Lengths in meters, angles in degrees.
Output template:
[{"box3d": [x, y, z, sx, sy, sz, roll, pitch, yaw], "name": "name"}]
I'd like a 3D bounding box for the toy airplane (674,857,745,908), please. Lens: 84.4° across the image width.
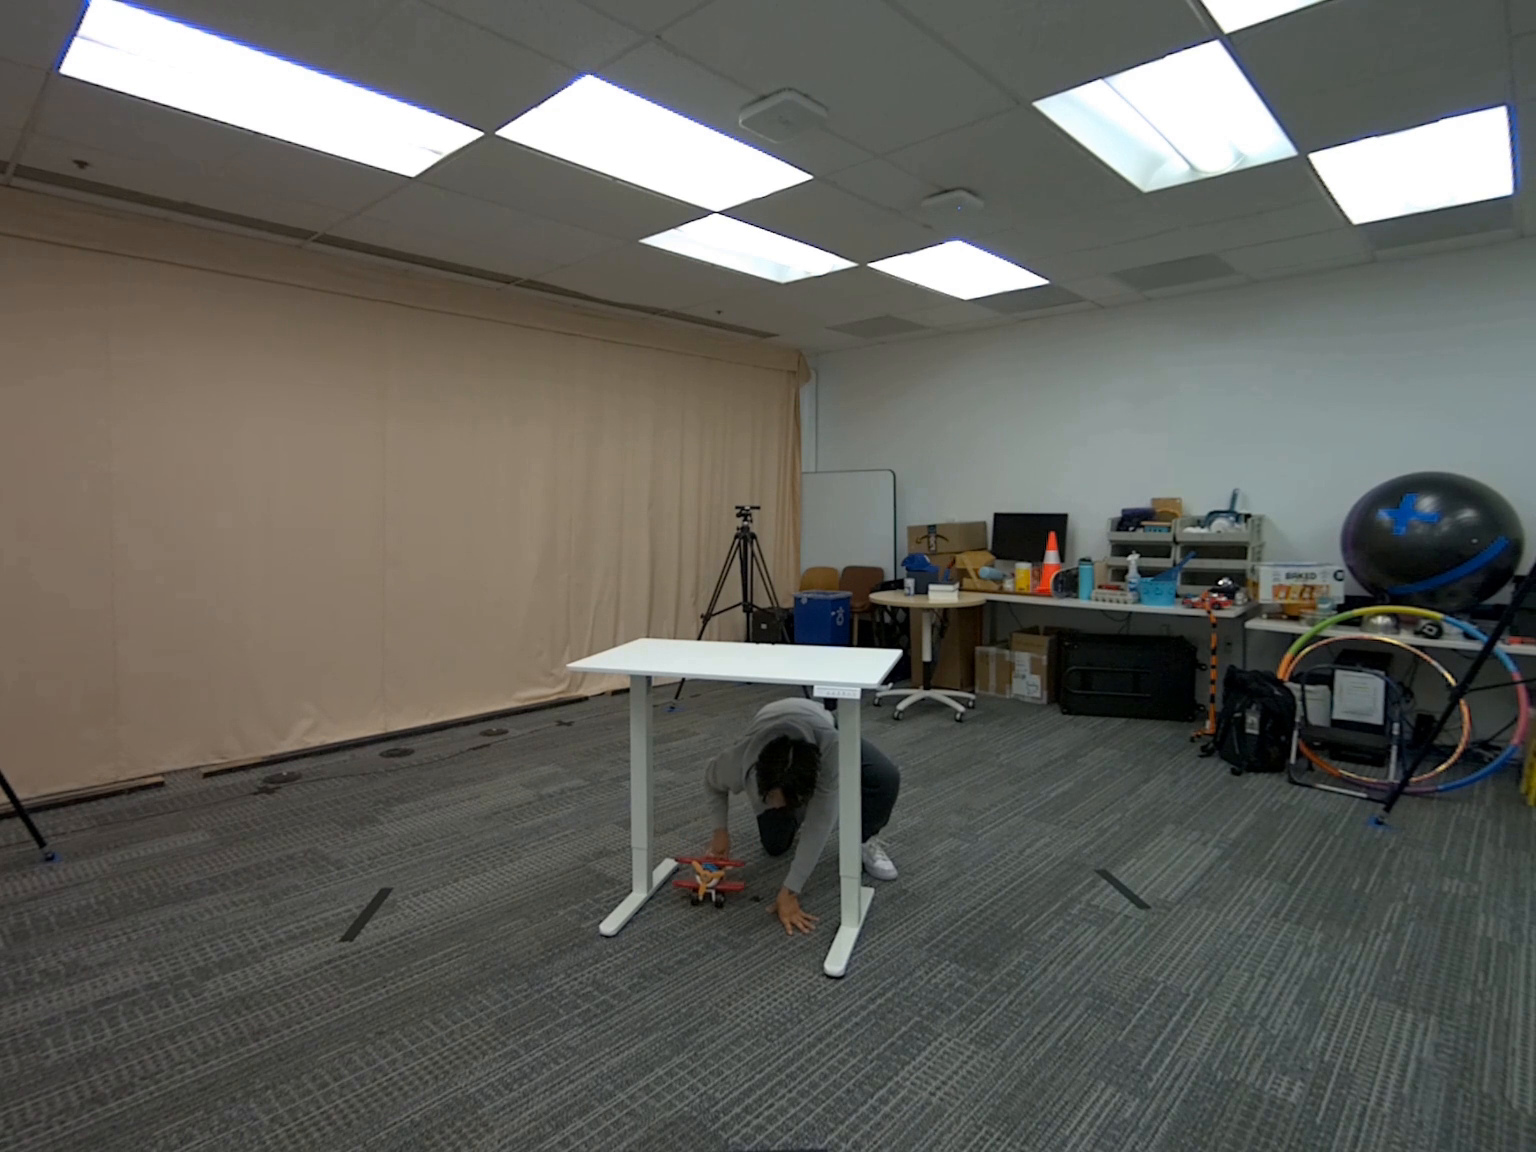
[{"box3d": [-0.219, 1.073, 3.019, 0.246, 0.156, 0.265, -1, 5, -21], "name": "toy airplane"}]
